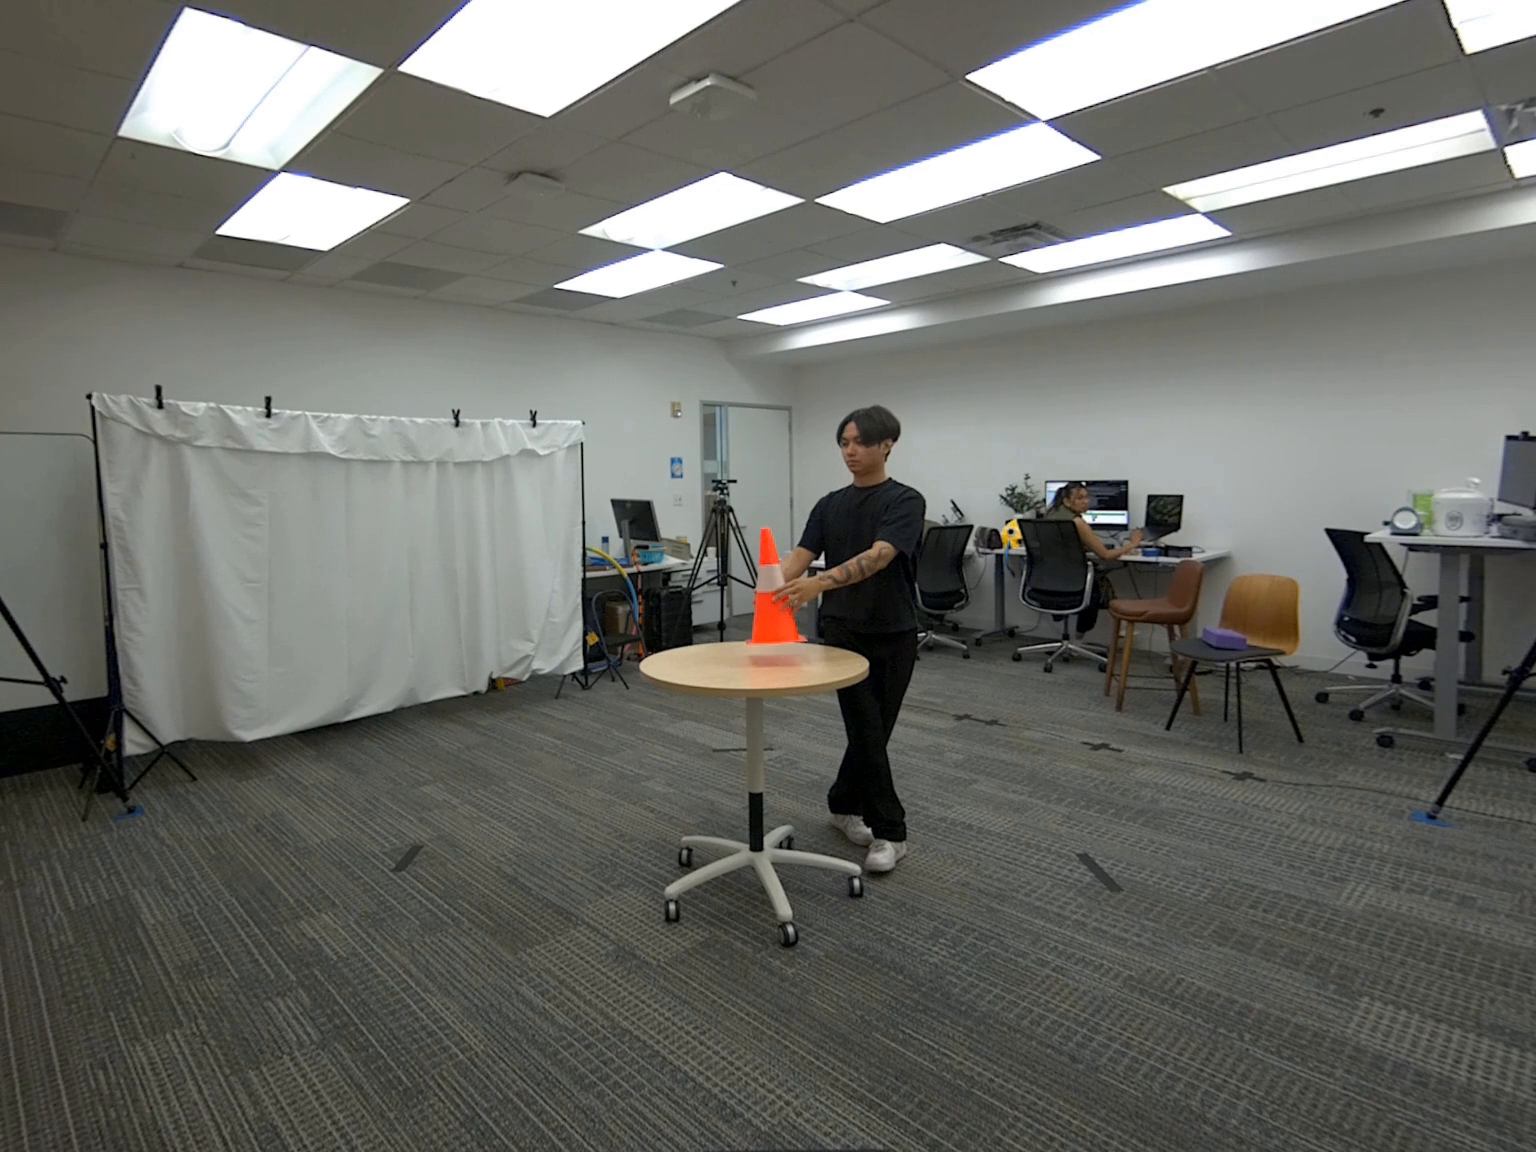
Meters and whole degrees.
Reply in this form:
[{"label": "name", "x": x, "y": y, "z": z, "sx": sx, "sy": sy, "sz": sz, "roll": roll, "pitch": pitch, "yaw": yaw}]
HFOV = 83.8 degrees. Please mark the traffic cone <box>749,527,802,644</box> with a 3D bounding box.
[{"label": "traffic cone", "x": 0.005, "y": 0.021, "z": 2.880, "sx": 0.200, "sy": 0.384, "sz": 0.208, "roll": -7, "pitch": 0, "yaw": -44}]
